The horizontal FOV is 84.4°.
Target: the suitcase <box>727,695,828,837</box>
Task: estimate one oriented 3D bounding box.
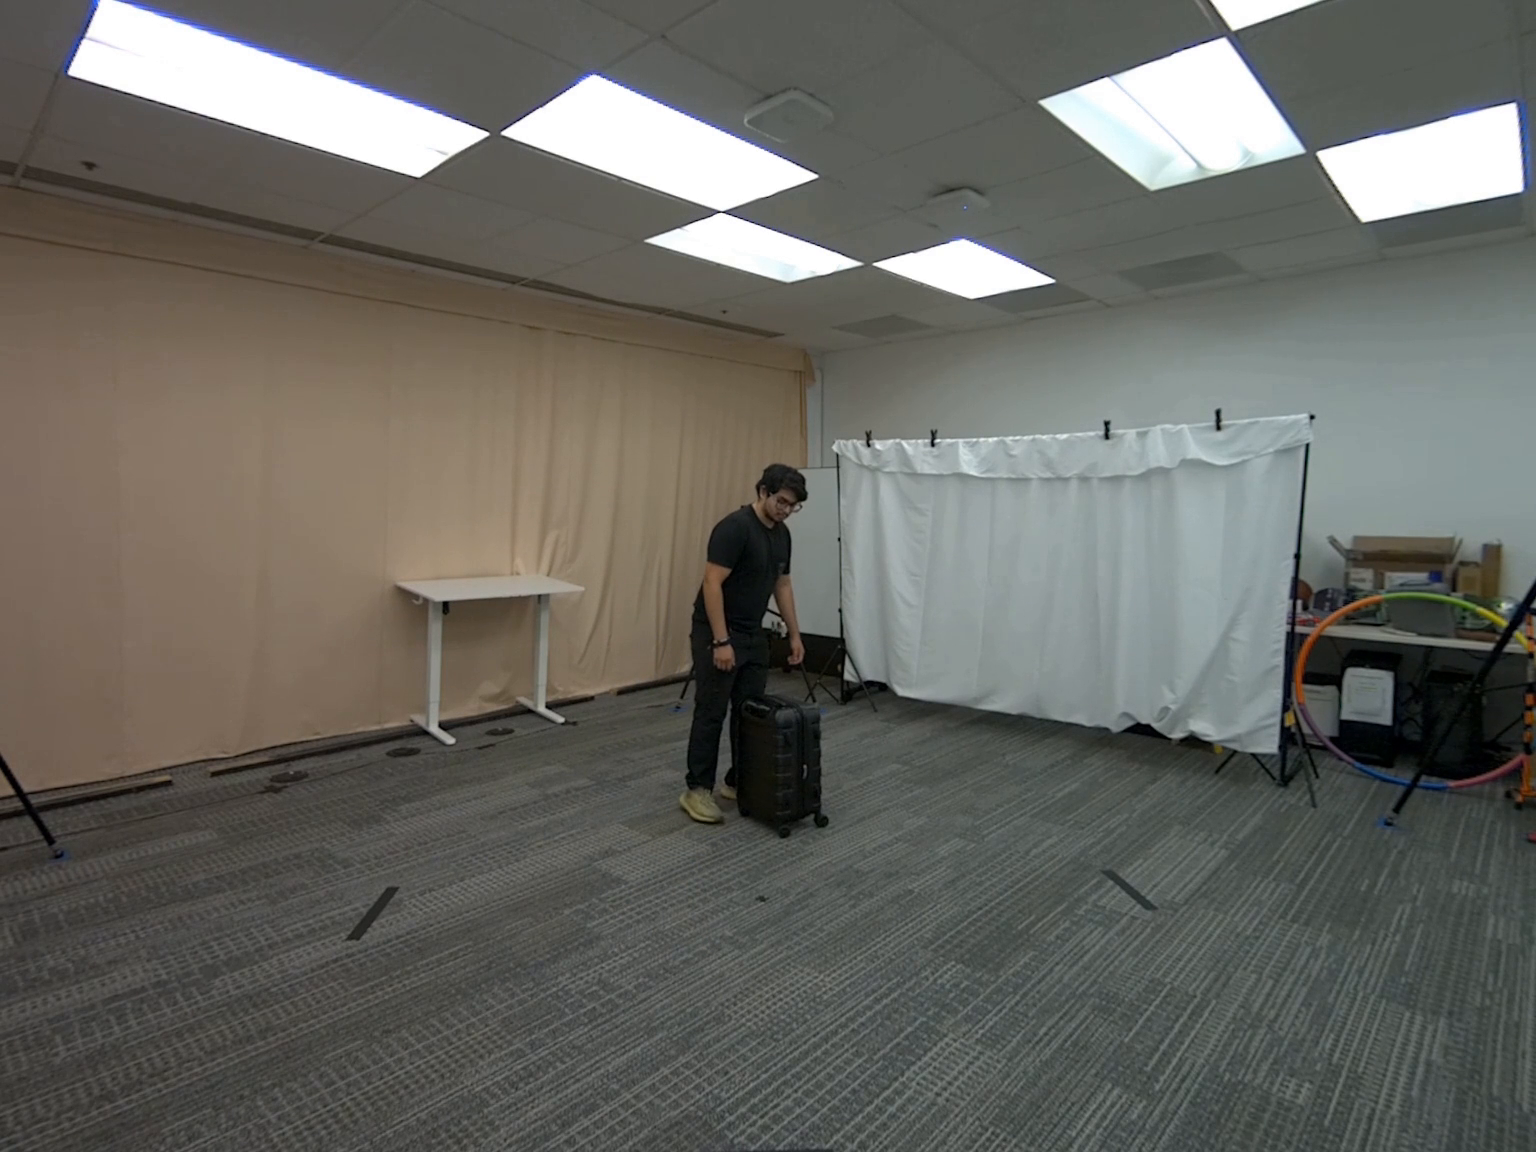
[{"bbox_3d":[0.050,0.805,3.712,0.241,0.548,0.387,-3,3,-35],"label":"suitcase"}]
